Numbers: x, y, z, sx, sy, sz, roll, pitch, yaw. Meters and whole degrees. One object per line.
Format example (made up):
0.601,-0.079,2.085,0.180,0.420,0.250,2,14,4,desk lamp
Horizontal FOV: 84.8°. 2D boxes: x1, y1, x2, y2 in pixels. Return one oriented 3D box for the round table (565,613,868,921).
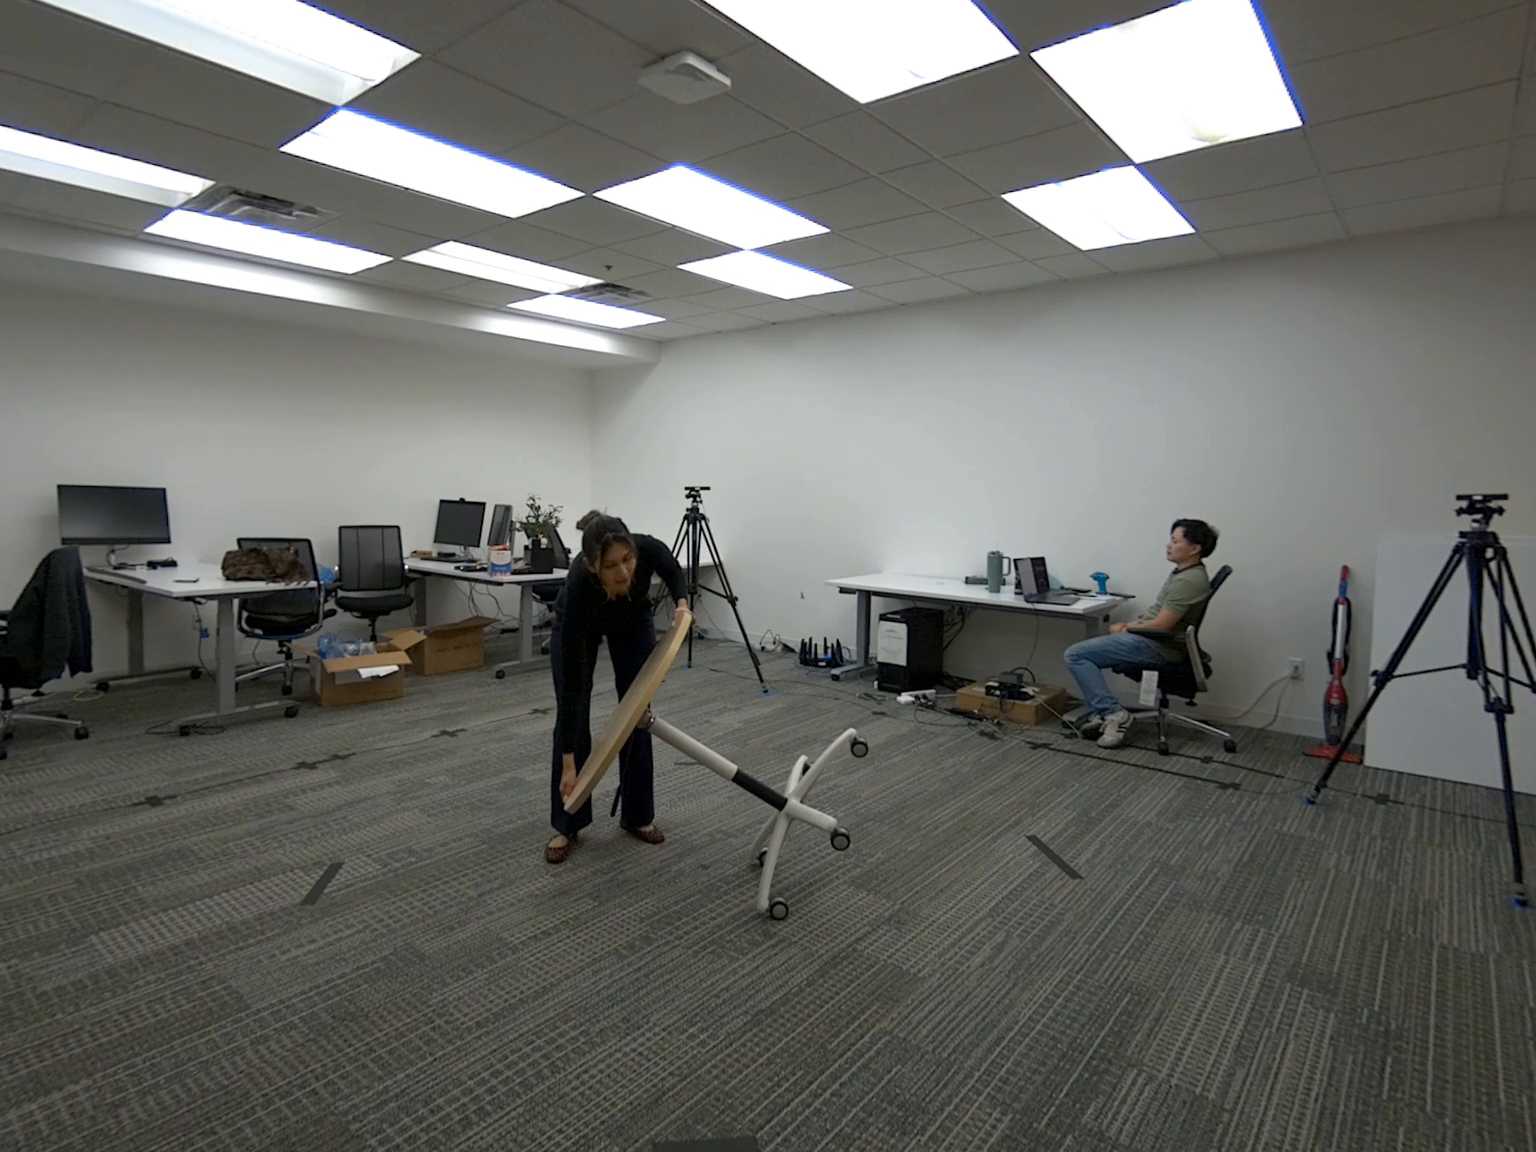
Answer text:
-0.165,0.655,2.928,0.789,0.763,0.770,33,1,-6,round table
